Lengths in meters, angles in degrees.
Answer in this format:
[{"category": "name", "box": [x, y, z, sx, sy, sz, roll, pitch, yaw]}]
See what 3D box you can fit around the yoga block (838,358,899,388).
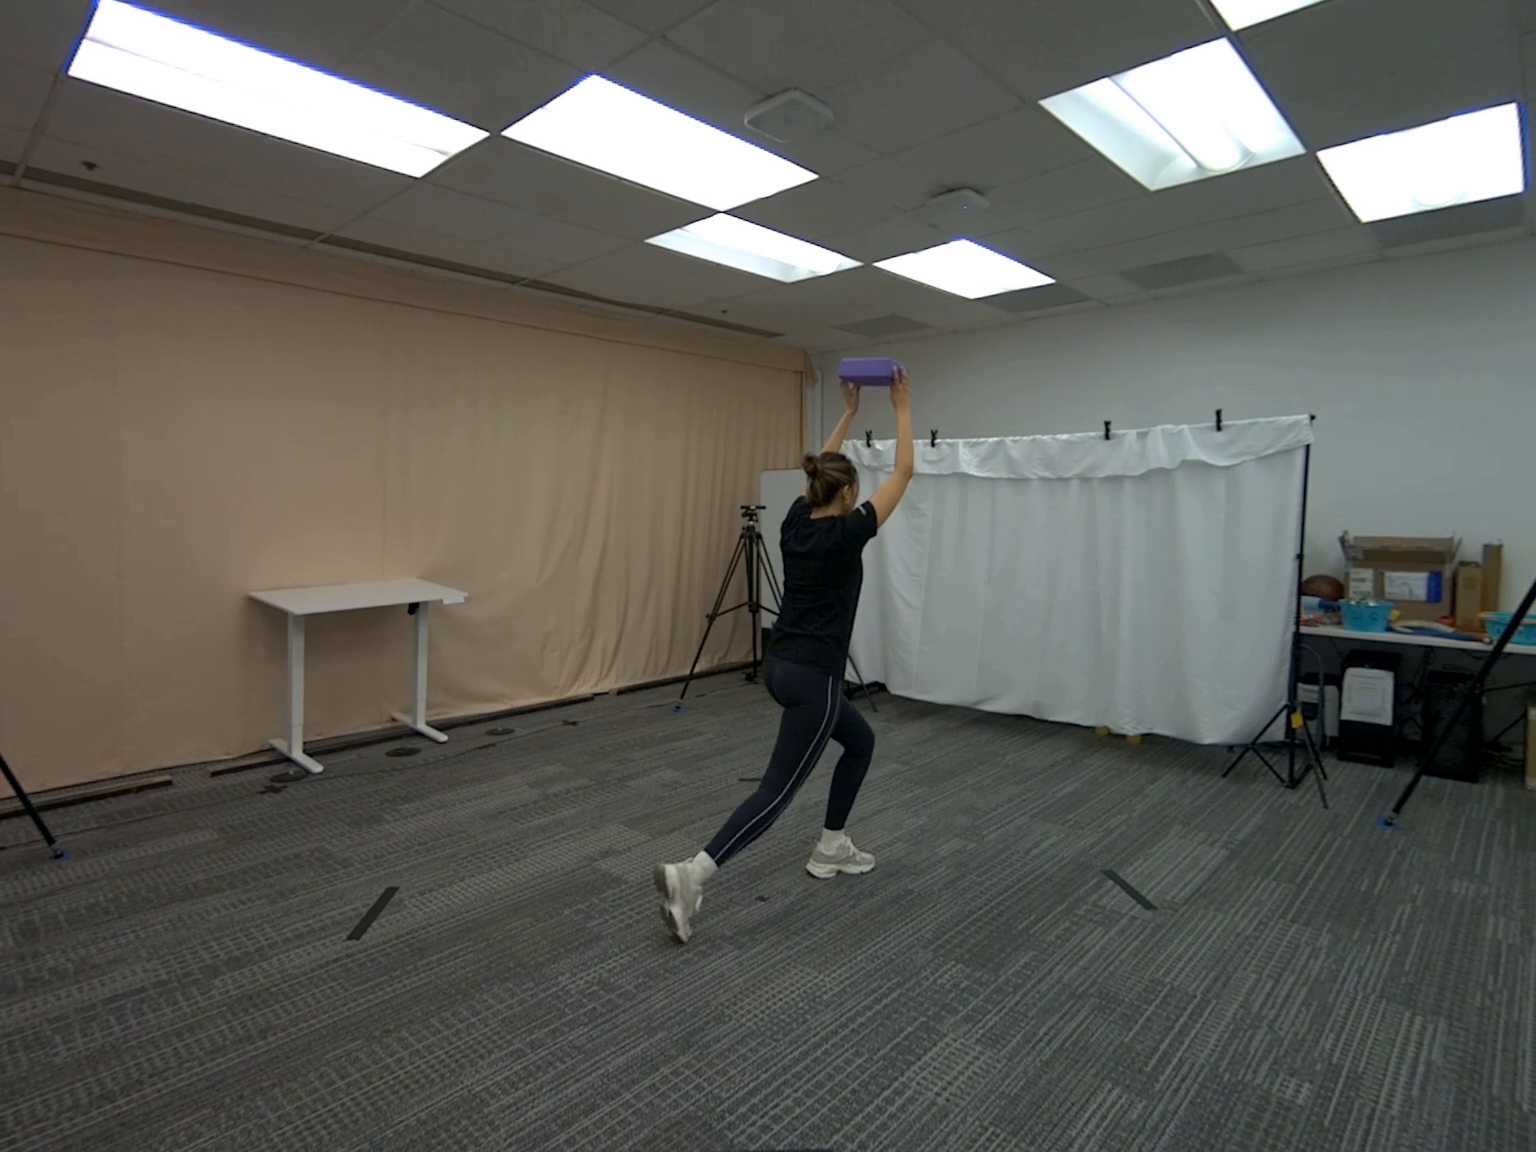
[{"category": "yoga block", "box": [0.409, -0.775, 3.219, 0.237, 0.076, 0.144, 13, 3, 43]}]
